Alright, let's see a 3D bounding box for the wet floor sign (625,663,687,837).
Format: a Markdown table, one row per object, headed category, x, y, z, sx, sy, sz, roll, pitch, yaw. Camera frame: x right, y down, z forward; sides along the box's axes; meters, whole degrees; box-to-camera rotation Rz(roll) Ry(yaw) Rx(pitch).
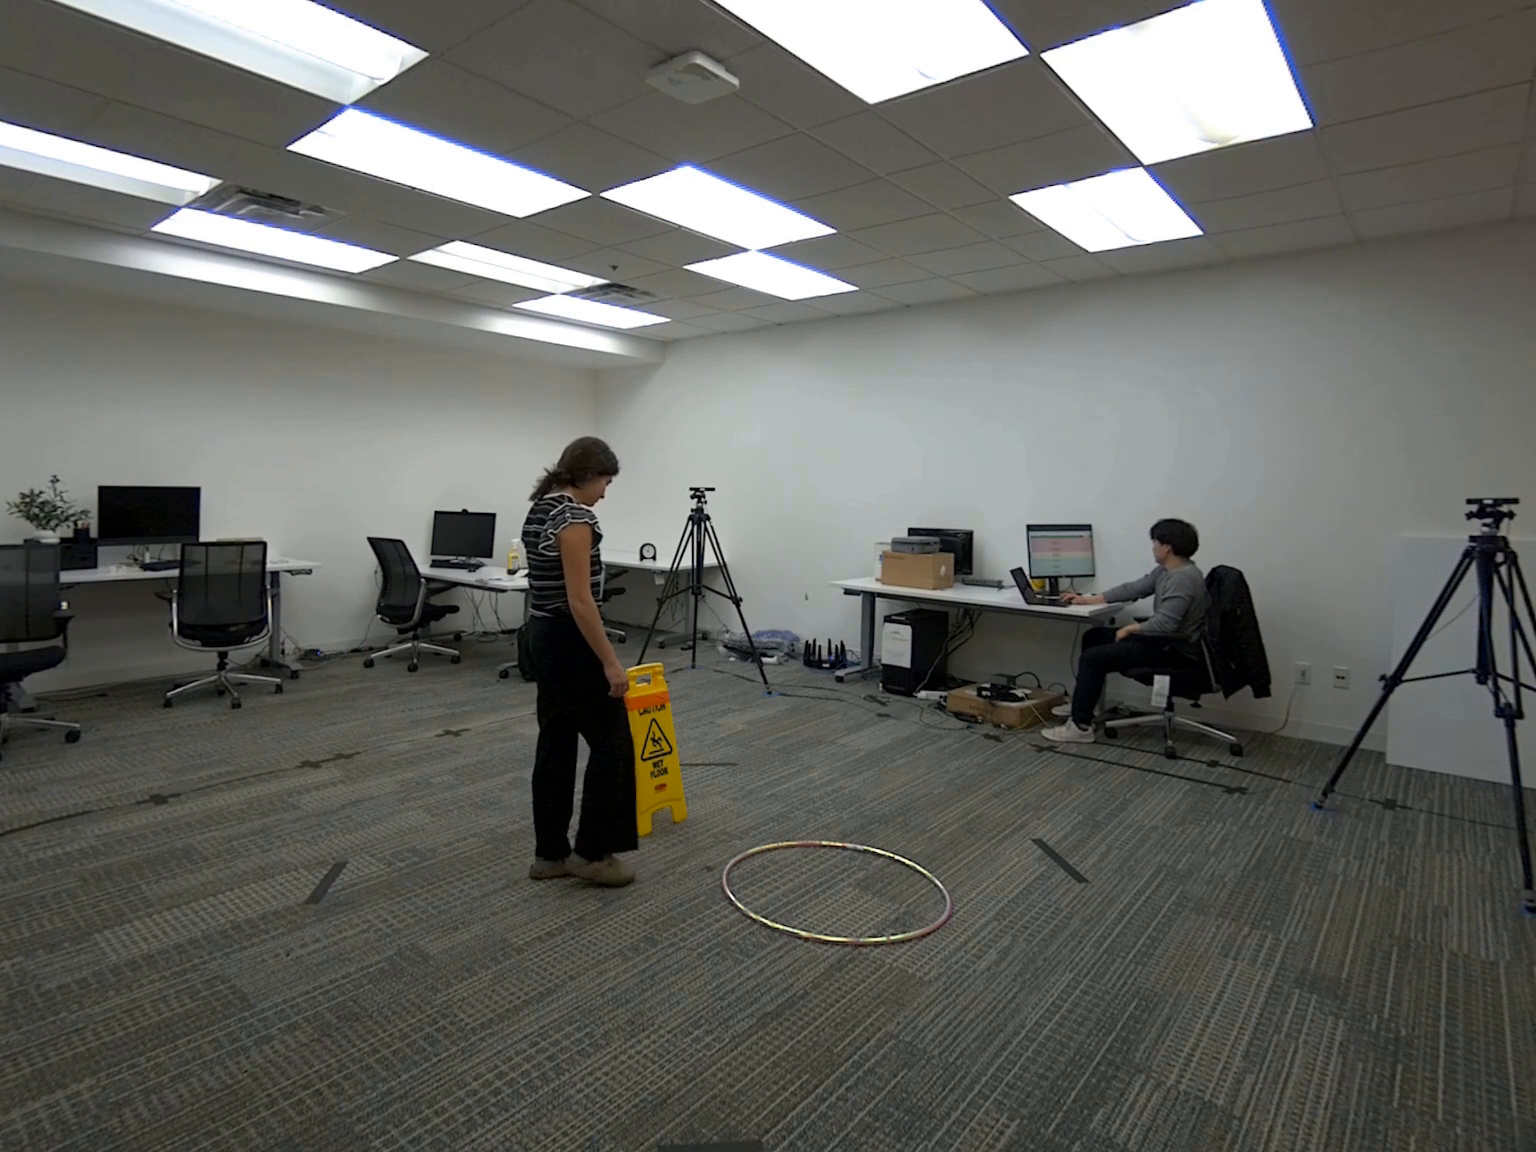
| category | x | y | z | sx | sy | sz | roll | pitch | yaw |
| --- | --- | --- | --- | --- | --- | --- | --- | --- | --- |
| wet floor sign | -0.528 | 0.693 | 3.550 | 0.300 | 0.643 | 0.274 | 5 | 6 | 41 |
